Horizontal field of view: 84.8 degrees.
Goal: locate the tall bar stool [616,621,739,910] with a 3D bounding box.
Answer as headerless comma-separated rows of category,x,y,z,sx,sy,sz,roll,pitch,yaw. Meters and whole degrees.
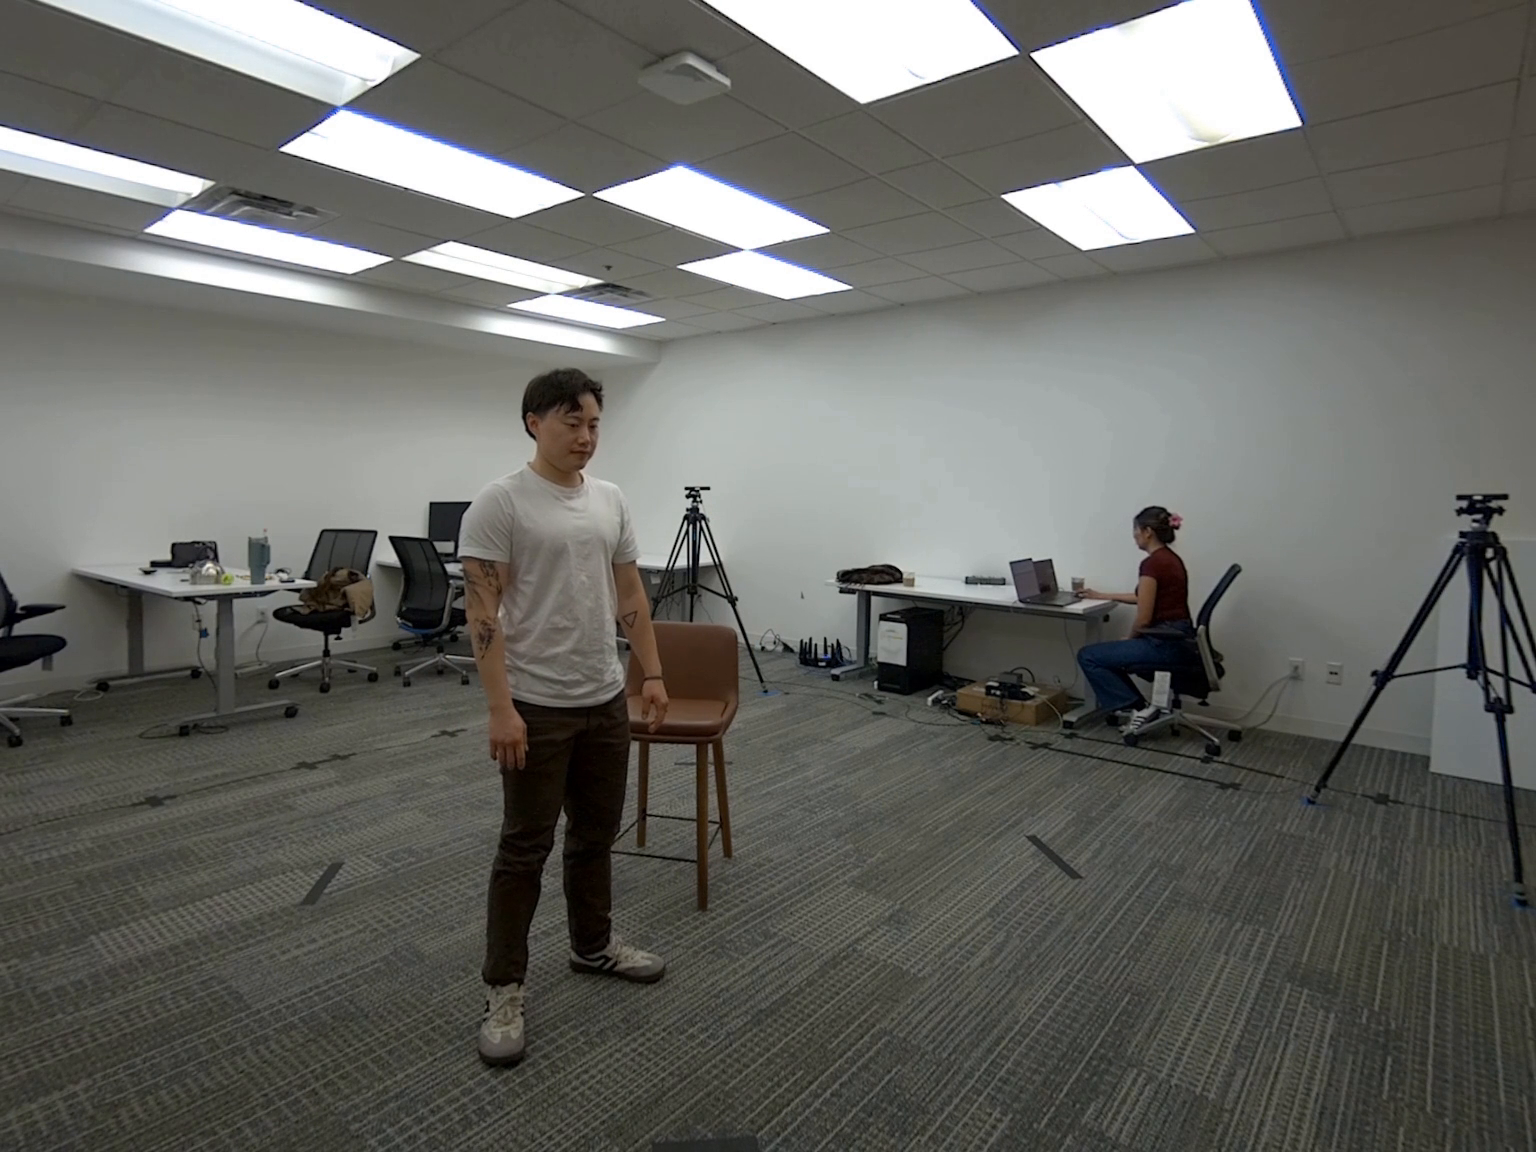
tall bar stool,-0.362,0.636,3.032,0.464,0.889,0.461,2,2,14
